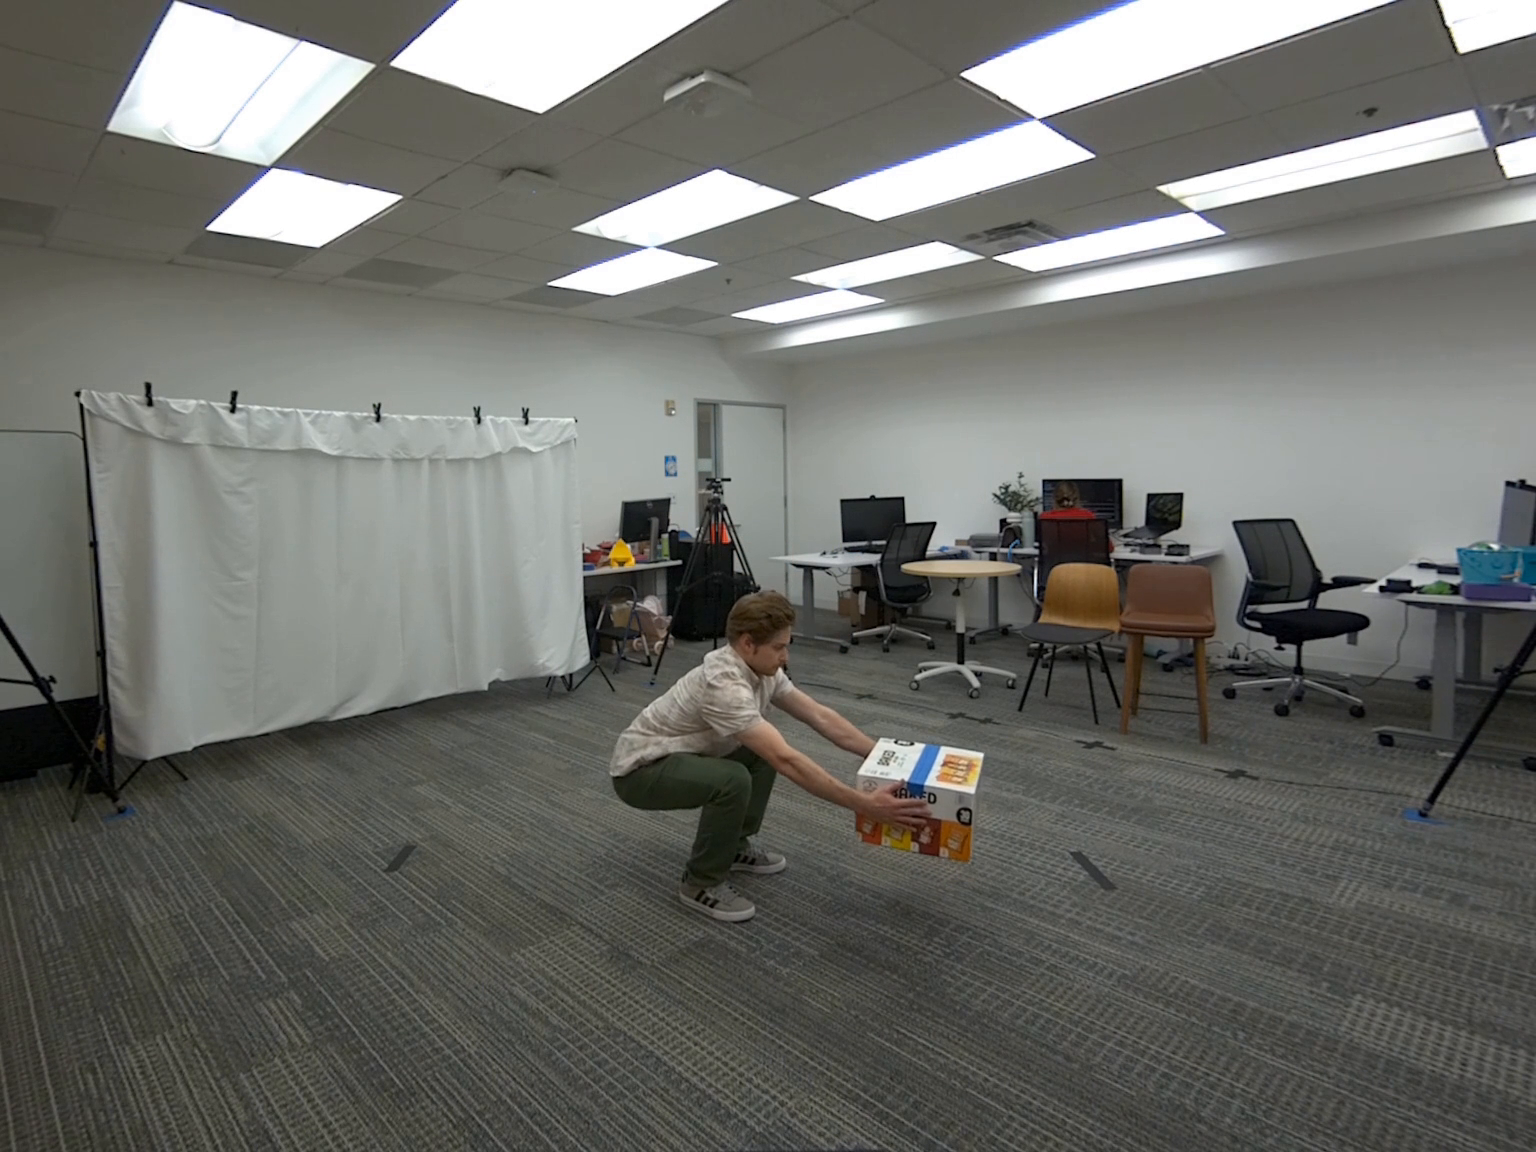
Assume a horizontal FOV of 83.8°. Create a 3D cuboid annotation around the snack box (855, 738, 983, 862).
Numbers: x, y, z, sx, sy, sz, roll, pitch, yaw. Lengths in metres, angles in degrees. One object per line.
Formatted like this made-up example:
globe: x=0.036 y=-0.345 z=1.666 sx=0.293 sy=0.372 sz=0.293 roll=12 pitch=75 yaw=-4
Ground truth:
snack box: x=0.479 y=0.675 z=2.671 sx=0.347 sy=0.205 sz=0.399 roll=5 pitch=6 yaw=19
